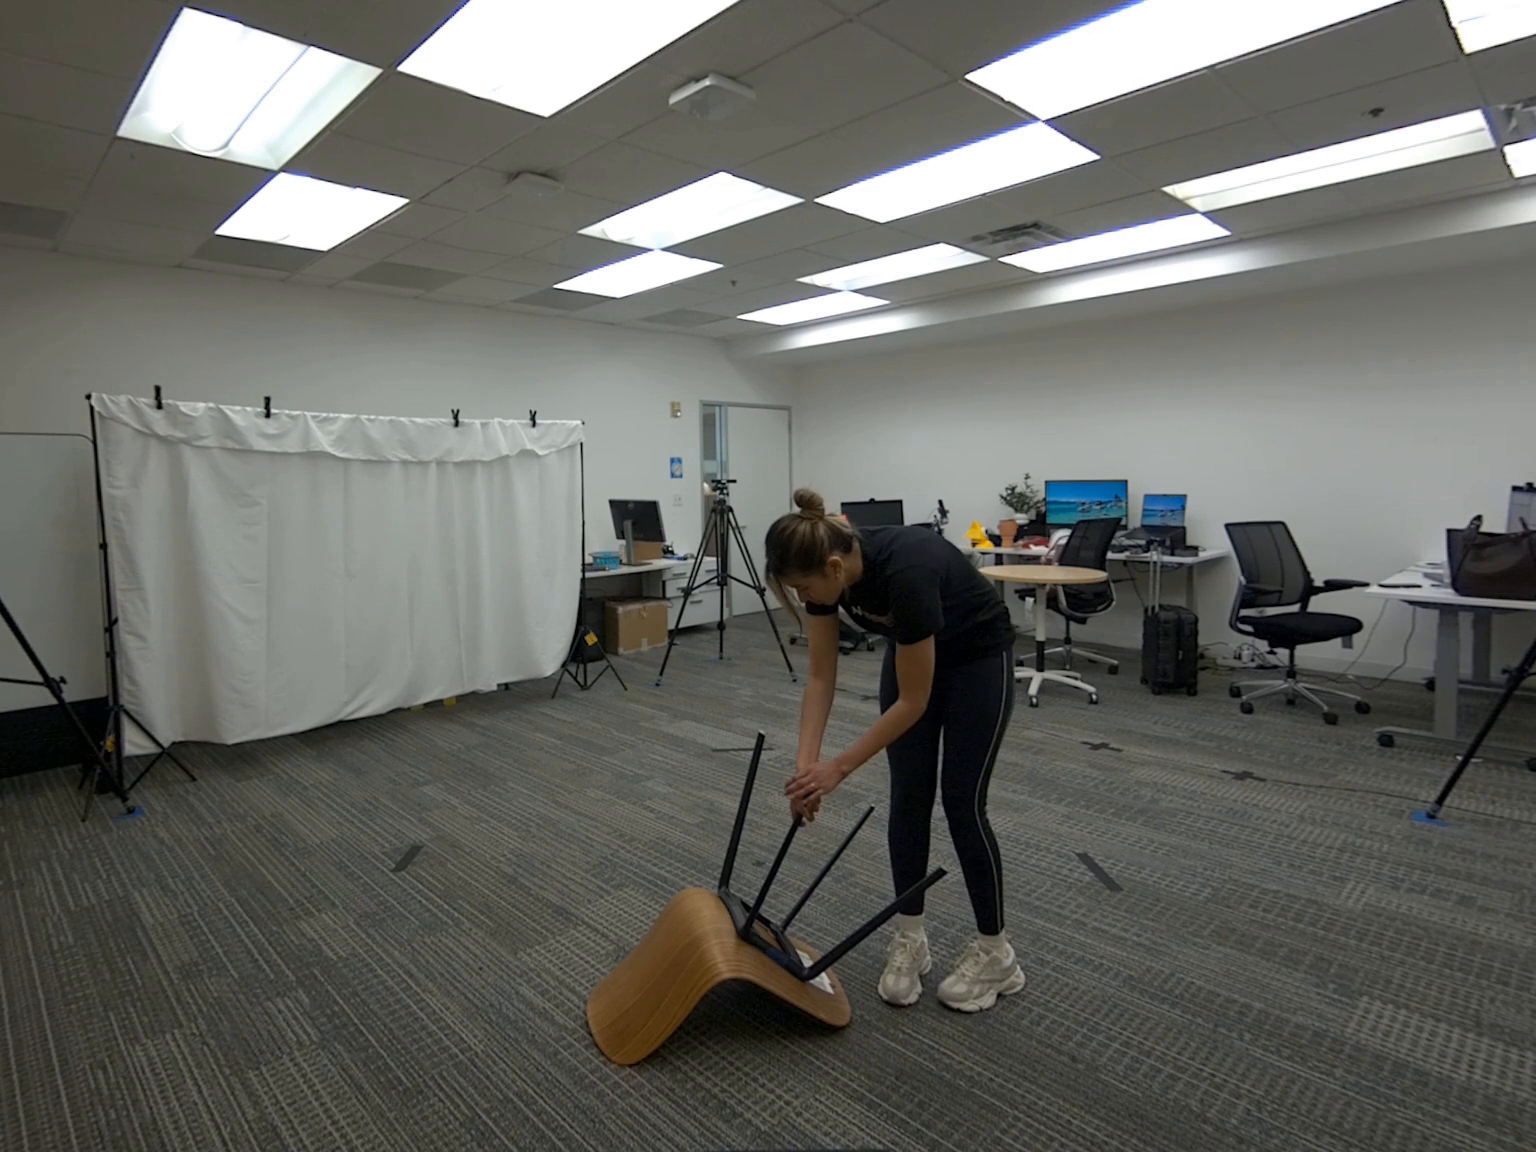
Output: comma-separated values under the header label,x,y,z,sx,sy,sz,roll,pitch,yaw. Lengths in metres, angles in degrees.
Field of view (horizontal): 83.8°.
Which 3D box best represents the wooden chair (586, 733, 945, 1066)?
label,x,y,z,sx,sy,sz,roll,pitch,yaw
wooden chair,-0.004,0.966,2.313,0.513,0.878,0.487,39,-7,-16
